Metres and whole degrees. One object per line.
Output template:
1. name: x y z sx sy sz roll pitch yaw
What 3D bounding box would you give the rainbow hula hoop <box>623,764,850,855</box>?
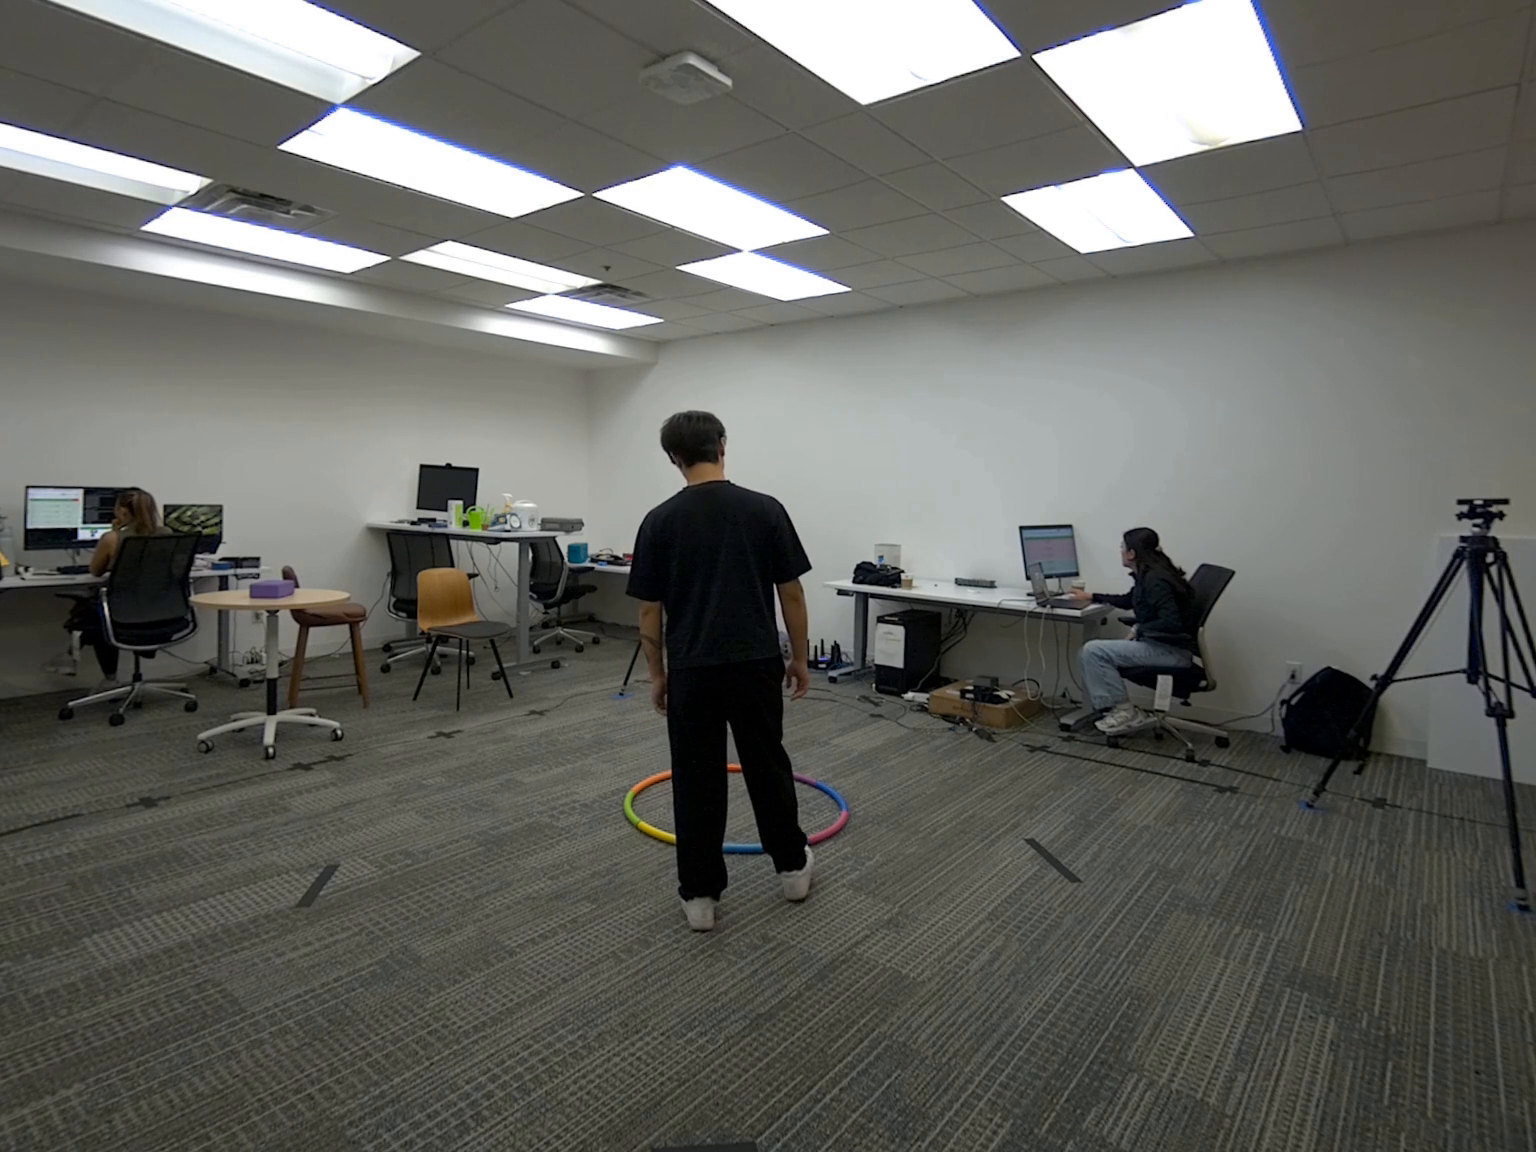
1. rainbow hula hoop: -0.153 0.983 3.728 0.978 0.035 0.984 1 6 -2
